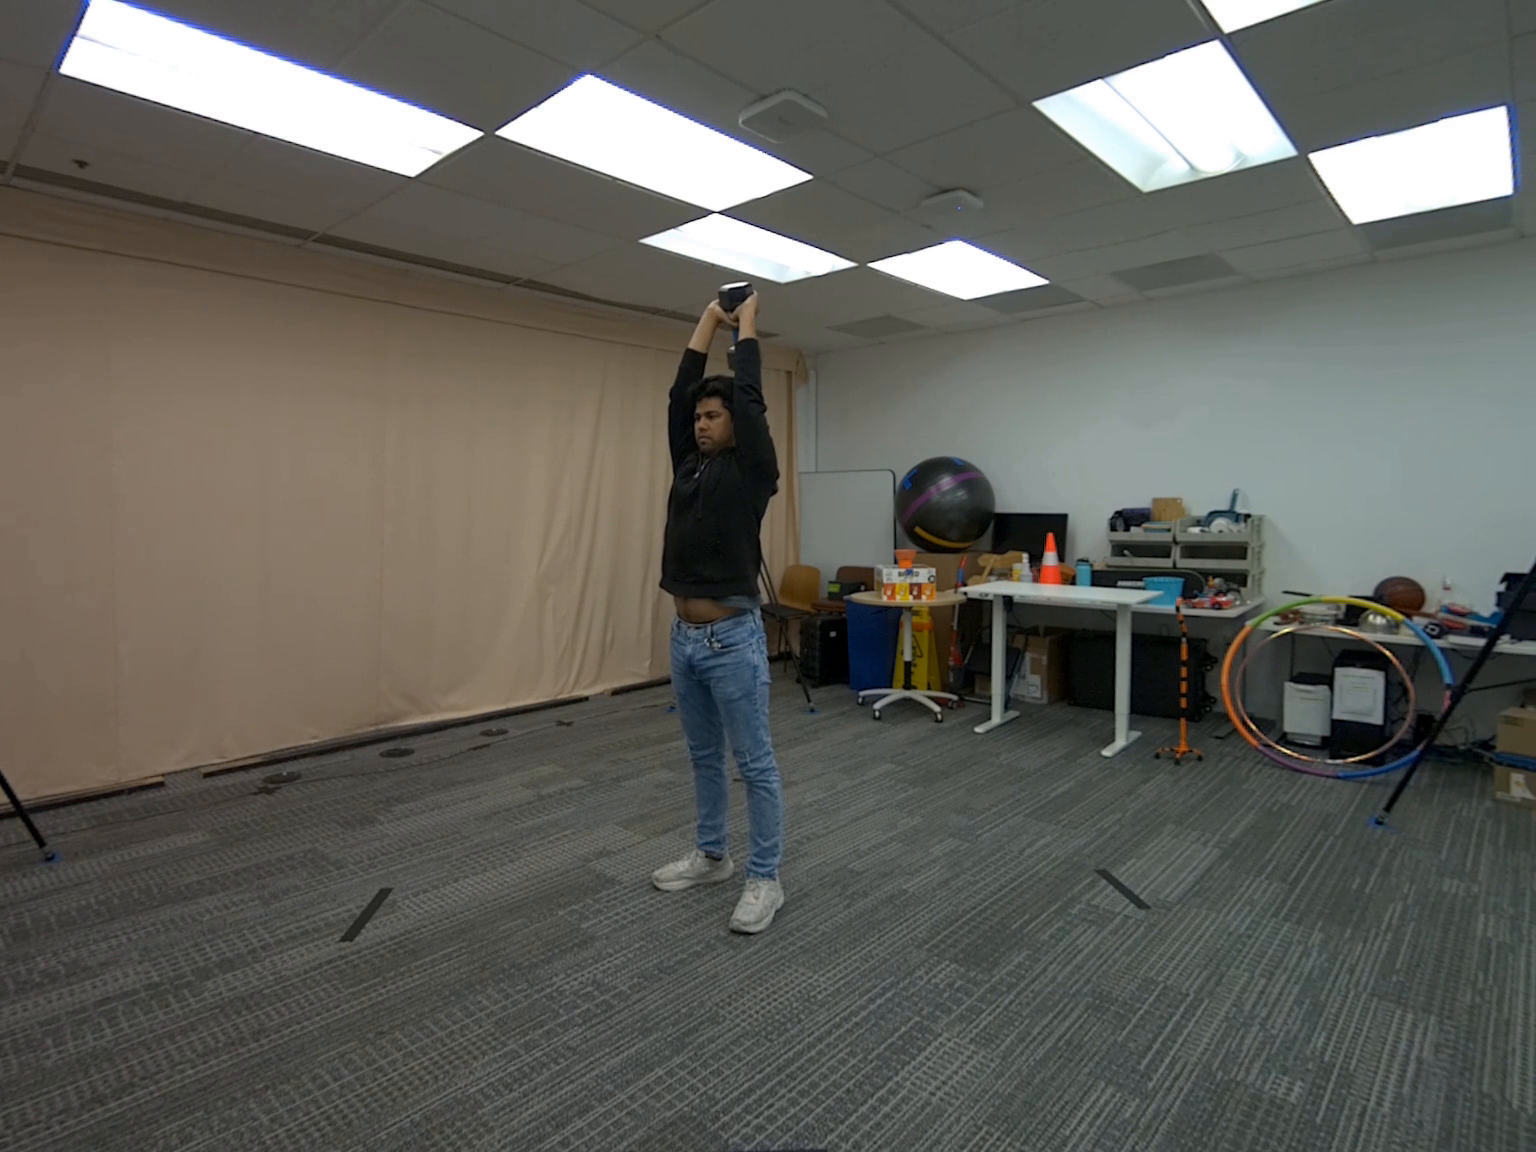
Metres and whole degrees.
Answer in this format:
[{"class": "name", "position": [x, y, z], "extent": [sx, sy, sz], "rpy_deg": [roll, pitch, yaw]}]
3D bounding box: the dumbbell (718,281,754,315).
[{"class": "dumbbell", "position": [-0.094, -0.866, 2.952], "extent": [0.106, 0.288, 0.127], "rpy_deg": [-21, 28, -28]}]
